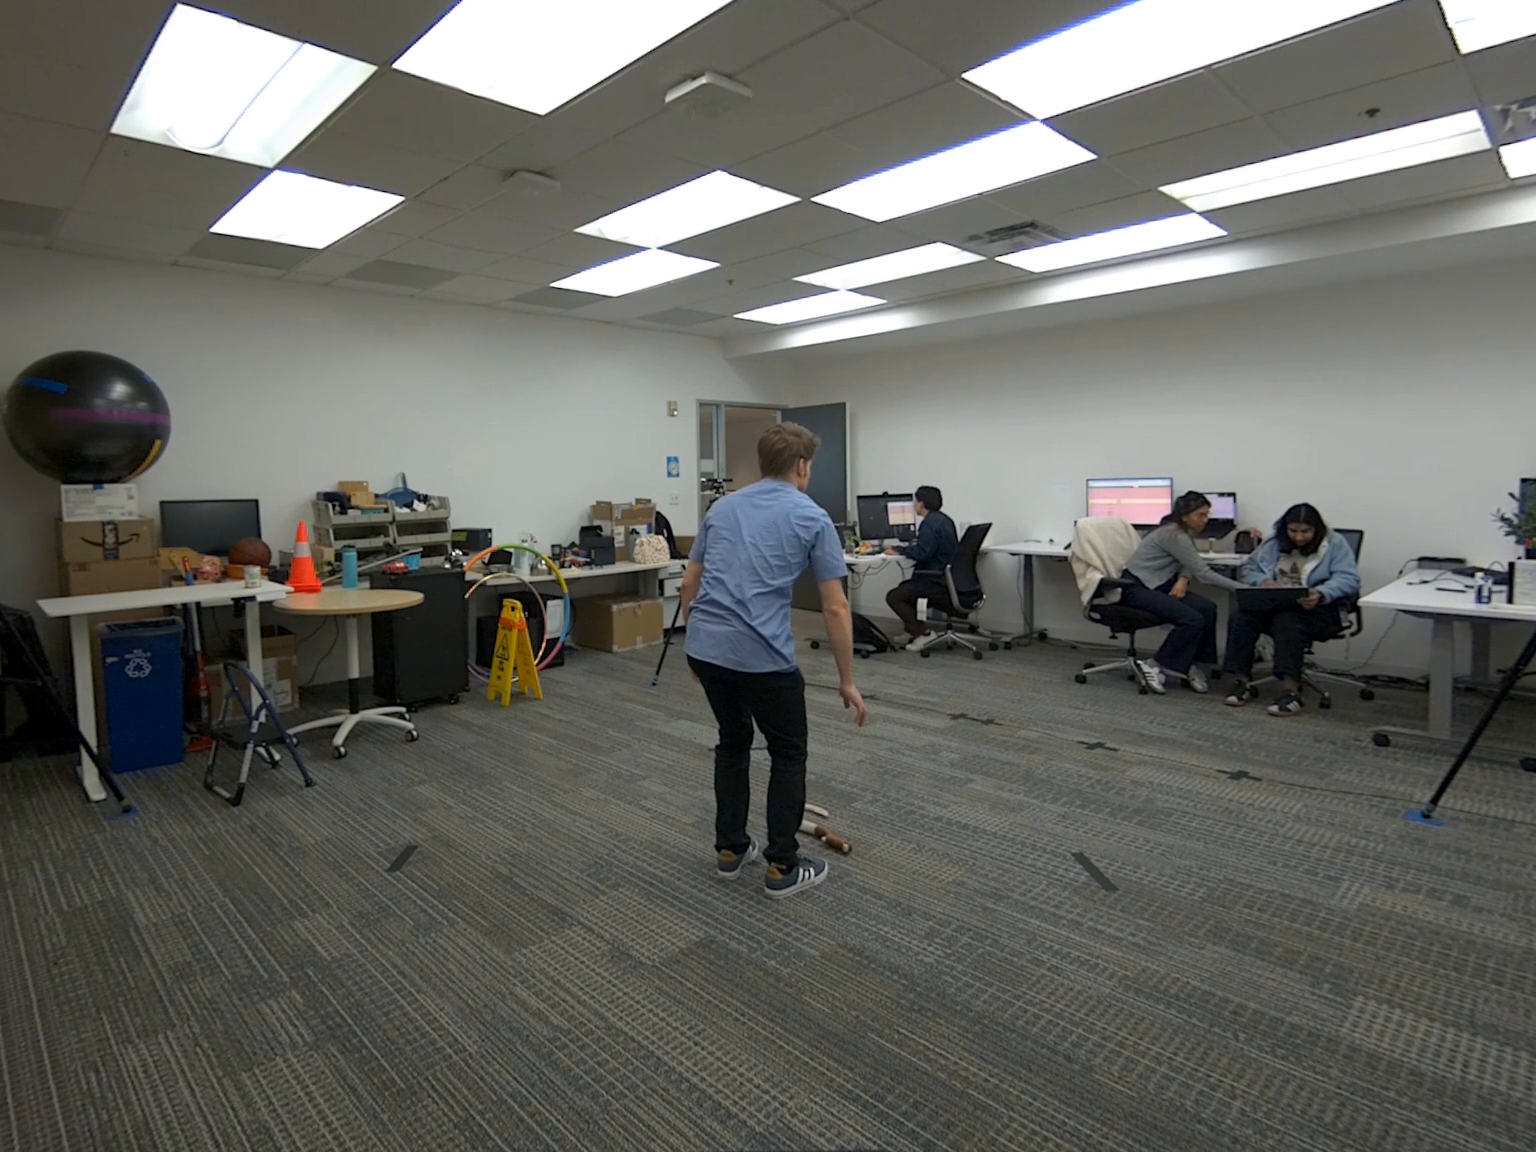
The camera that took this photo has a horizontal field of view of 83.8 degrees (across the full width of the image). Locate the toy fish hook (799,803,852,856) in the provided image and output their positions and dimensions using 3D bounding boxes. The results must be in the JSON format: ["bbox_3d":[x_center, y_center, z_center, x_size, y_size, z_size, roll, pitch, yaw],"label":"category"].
[{"bbox_3d":[0.201,0.985,3.401,0.219,0.048,0.521,-7,9,-32],"label":"toy fish hook"}]
